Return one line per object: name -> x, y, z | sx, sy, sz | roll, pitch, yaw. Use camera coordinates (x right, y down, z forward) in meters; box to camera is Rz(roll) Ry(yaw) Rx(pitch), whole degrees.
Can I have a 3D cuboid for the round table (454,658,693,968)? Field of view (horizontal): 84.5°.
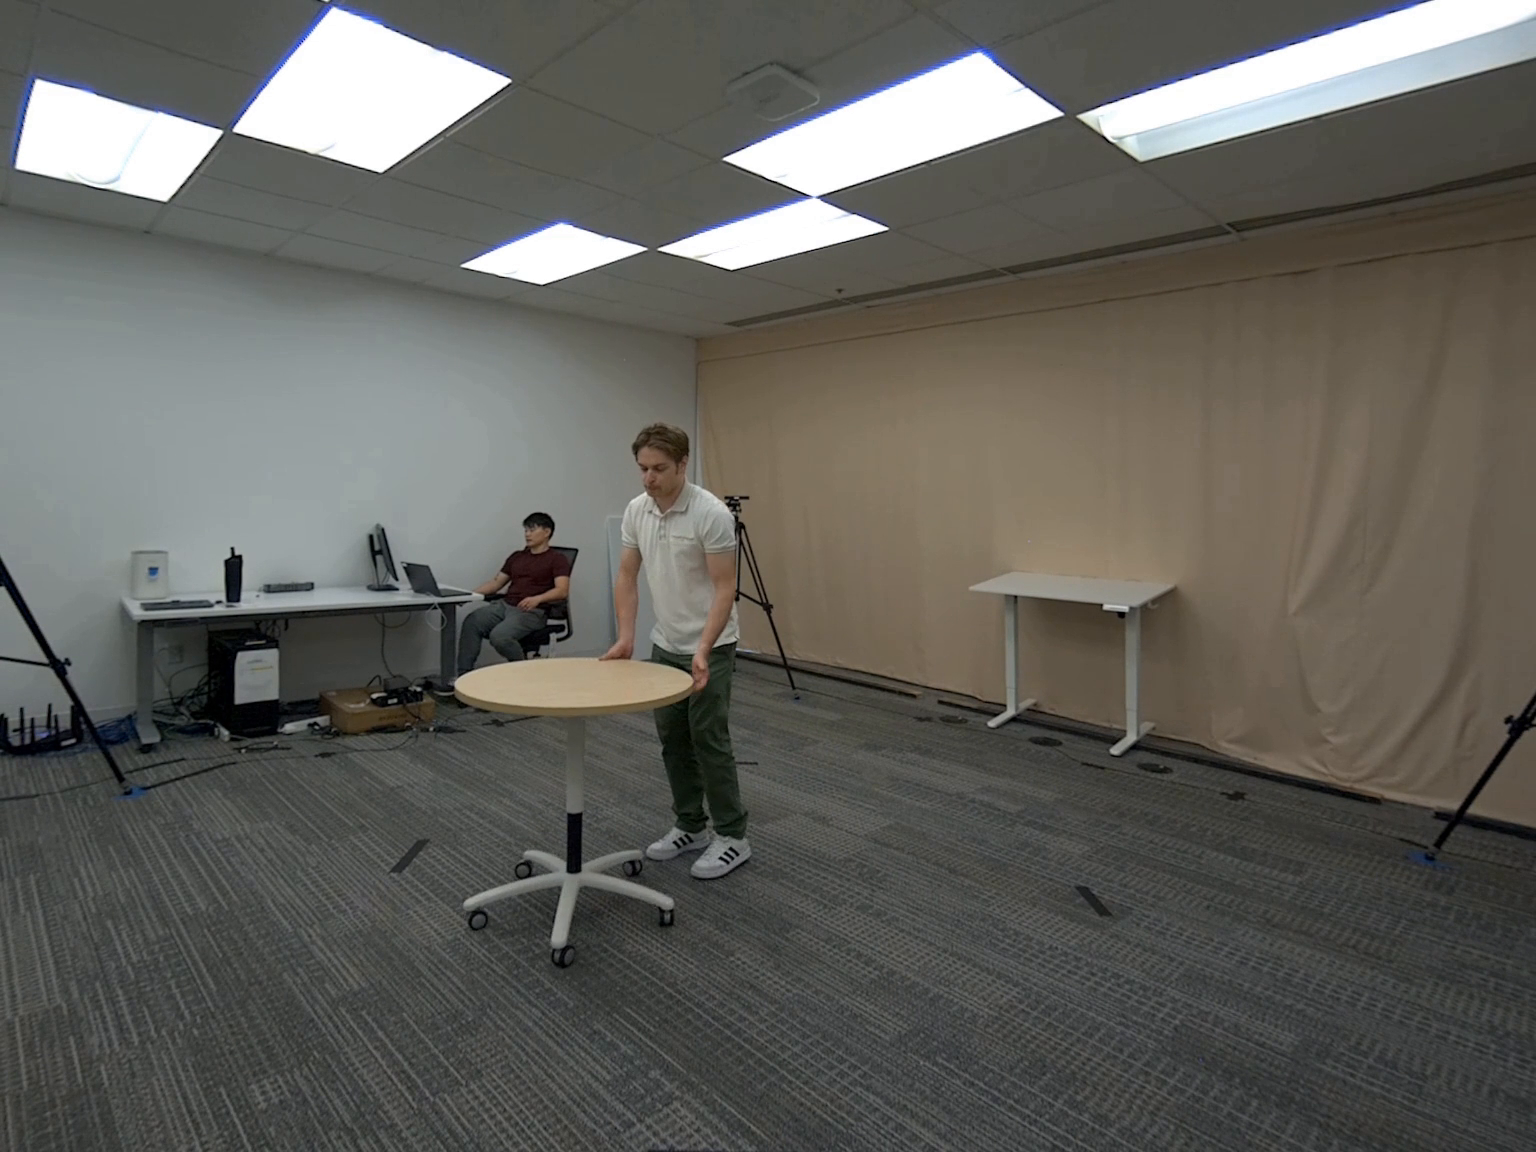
round table -> -0.647, 0.733, 2.782 | 0.763, 0.792, 0.766 | 1, 4, -1
